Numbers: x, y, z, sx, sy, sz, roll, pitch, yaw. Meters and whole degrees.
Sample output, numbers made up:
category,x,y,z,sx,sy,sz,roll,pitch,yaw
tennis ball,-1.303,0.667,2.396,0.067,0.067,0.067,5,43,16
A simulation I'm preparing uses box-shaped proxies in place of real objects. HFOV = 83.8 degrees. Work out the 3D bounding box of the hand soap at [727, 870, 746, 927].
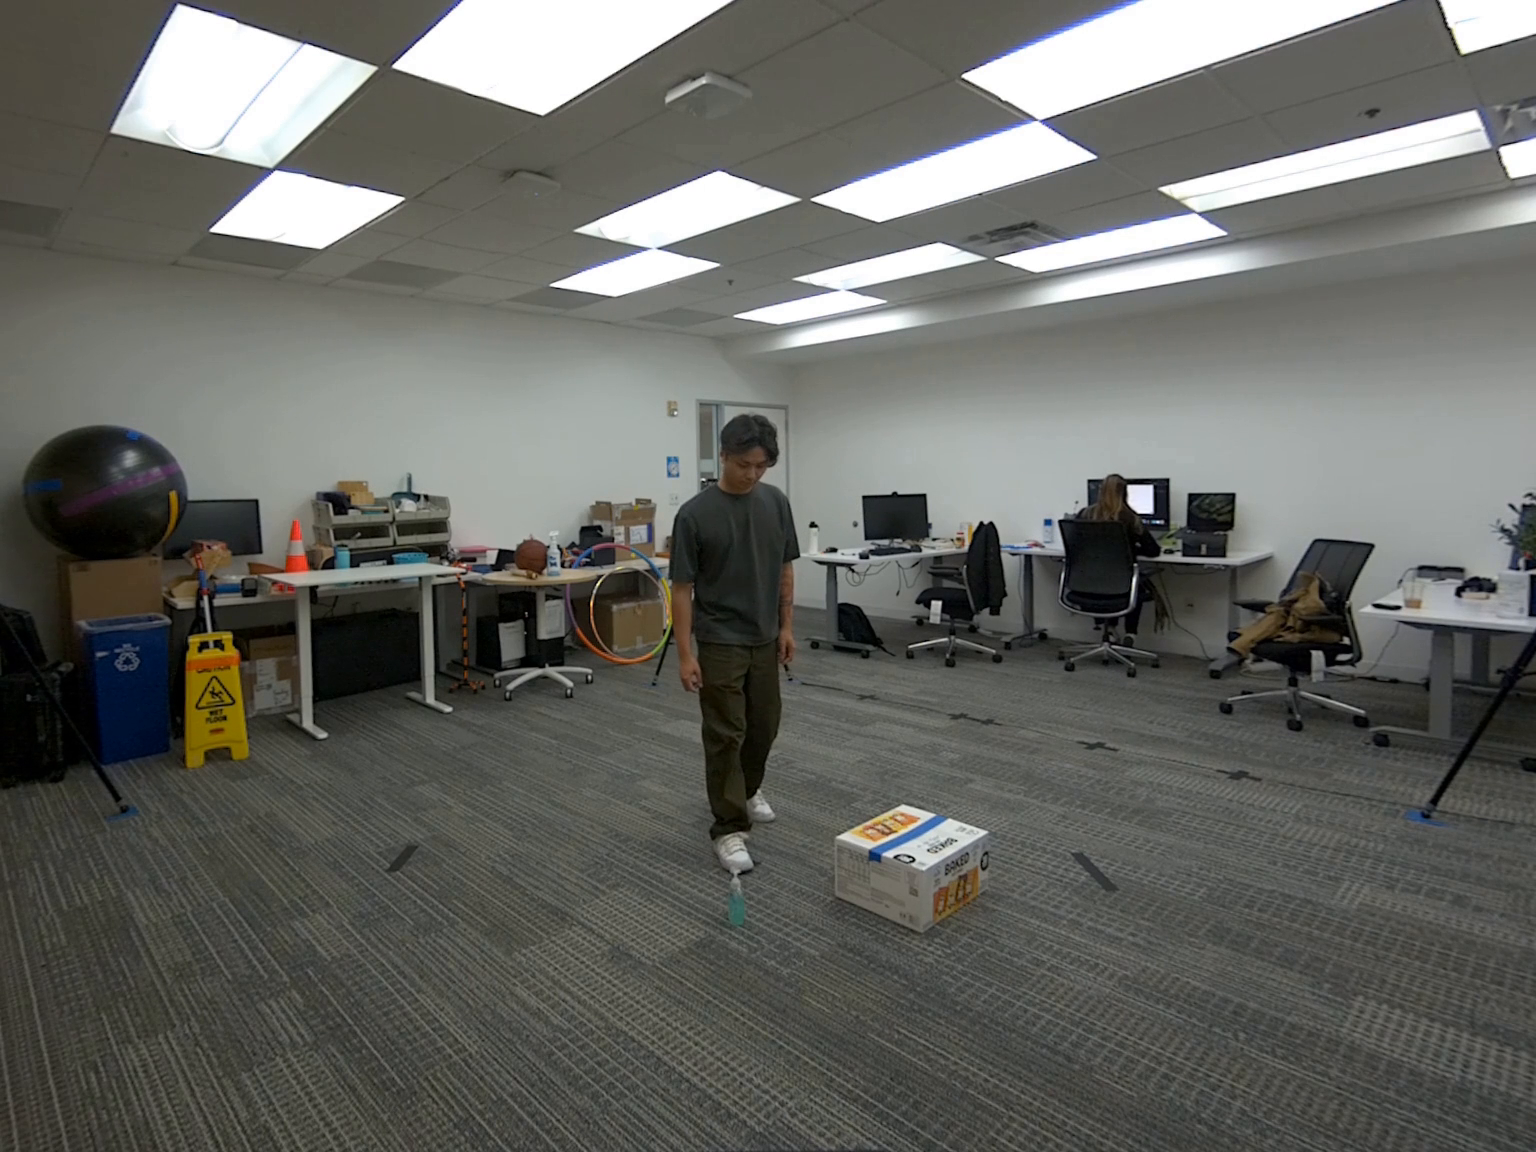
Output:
category,x,y,z,sx,sy,sz,roll,pitch,yaw
hand soap,-0.103,1.017,2.702,0.042,0.167,0.086,-6,7,-23
